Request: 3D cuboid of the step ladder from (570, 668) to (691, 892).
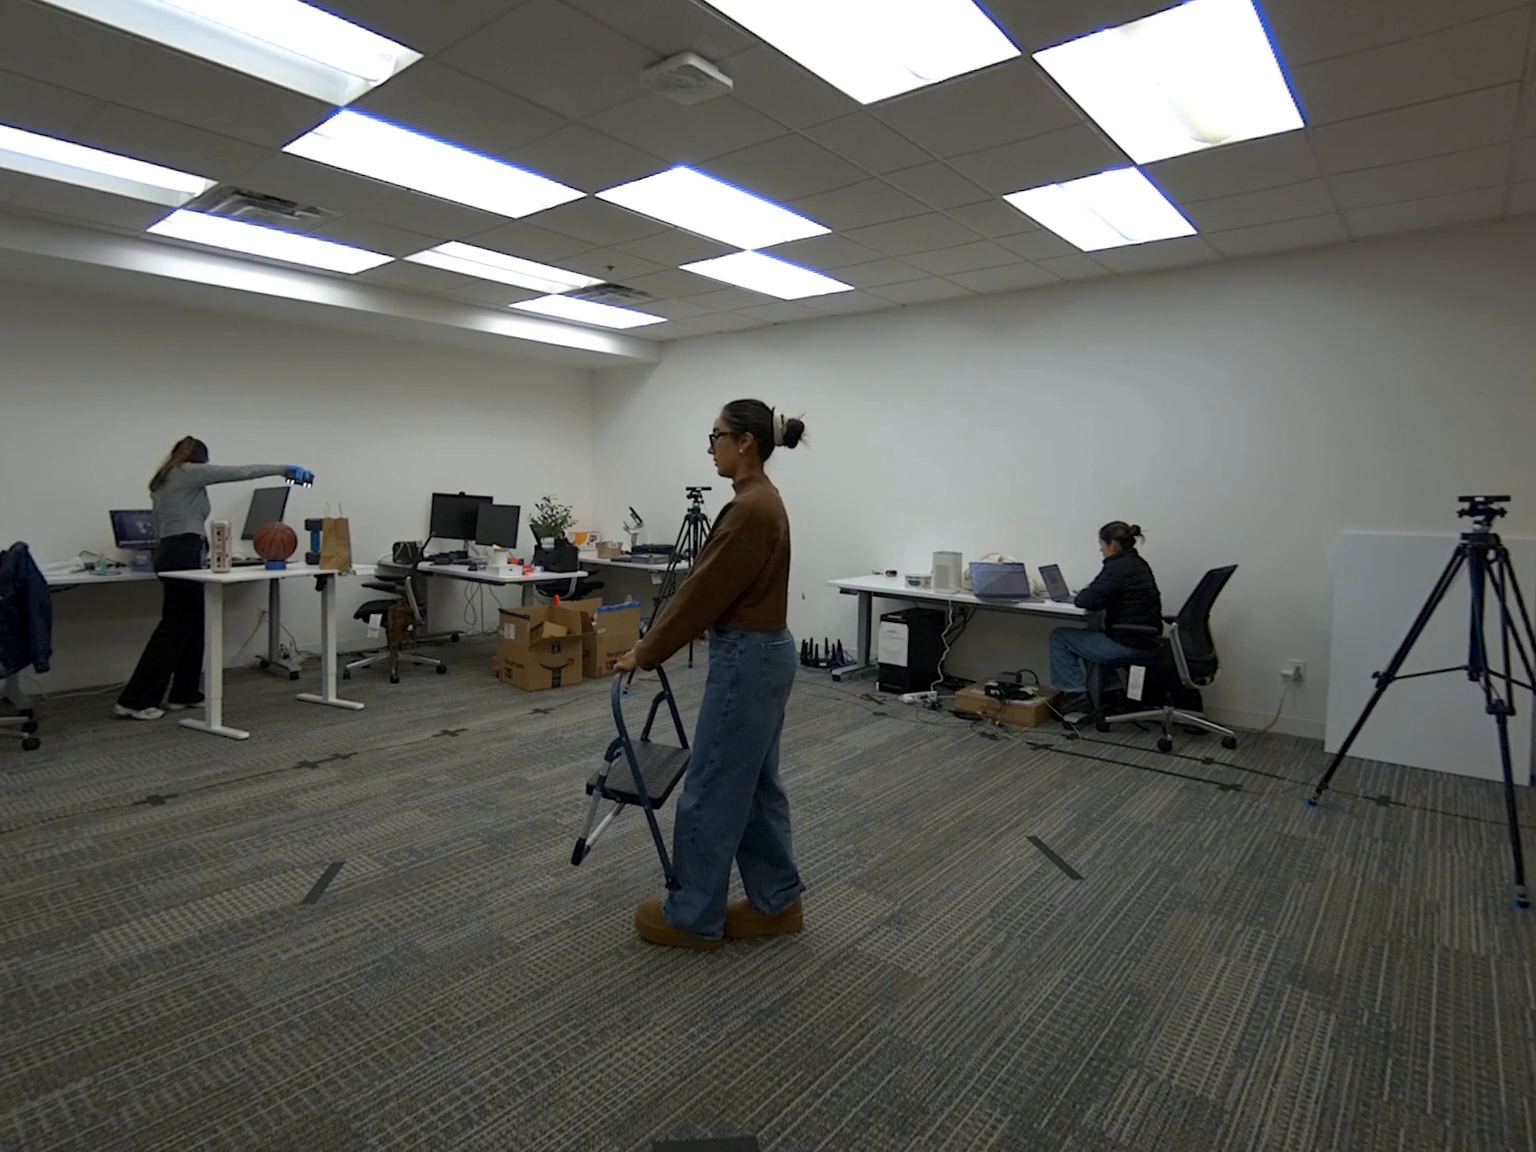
[{"bbox_3d":[-0.384,0.569,2.684,0.354,0.600,0.429,7,12,11],"label":"step ladder"}]
